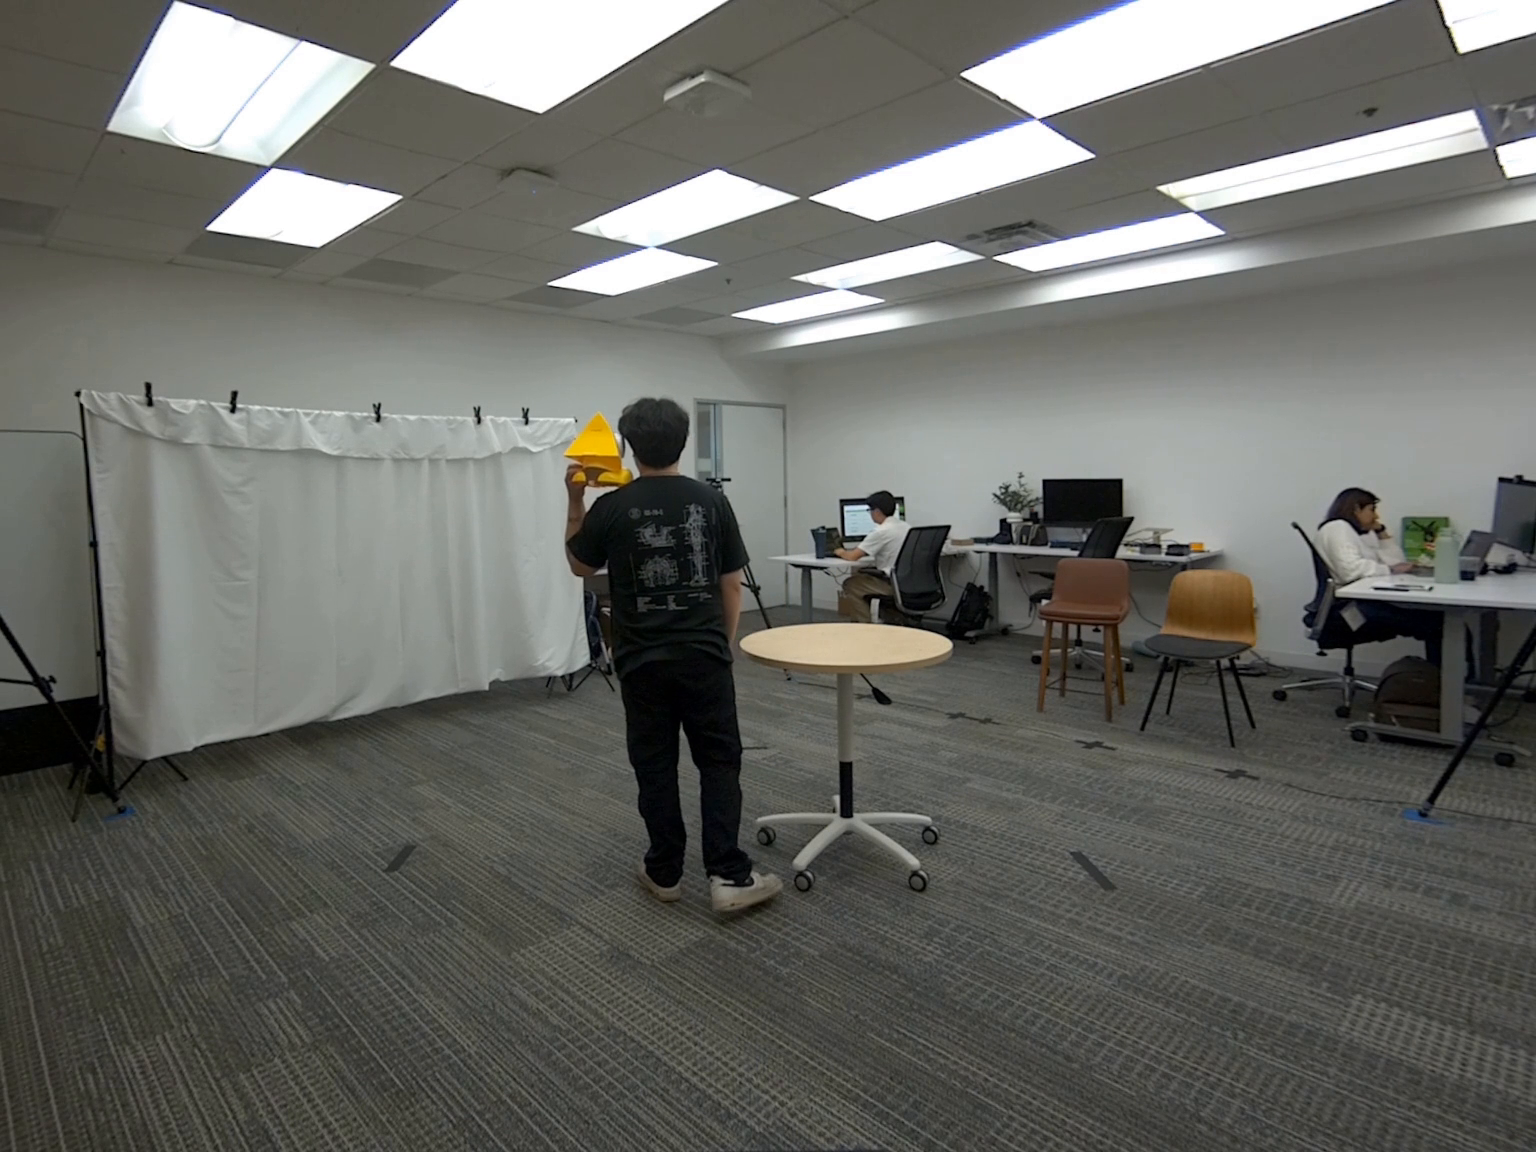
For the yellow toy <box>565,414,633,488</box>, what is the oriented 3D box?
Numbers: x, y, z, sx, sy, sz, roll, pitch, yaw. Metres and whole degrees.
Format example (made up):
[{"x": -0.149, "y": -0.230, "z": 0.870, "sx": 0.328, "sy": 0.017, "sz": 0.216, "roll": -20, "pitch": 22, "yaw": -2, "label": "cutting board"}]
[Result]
[{"x": -0.533, "y": -0.421, "z": 2.831, "sx": 0.209, "sy": 0.231, "sz": 0.189, "roll": 2, "pitch": -4, "yaw": 19, "label": "yellow toy"}]
